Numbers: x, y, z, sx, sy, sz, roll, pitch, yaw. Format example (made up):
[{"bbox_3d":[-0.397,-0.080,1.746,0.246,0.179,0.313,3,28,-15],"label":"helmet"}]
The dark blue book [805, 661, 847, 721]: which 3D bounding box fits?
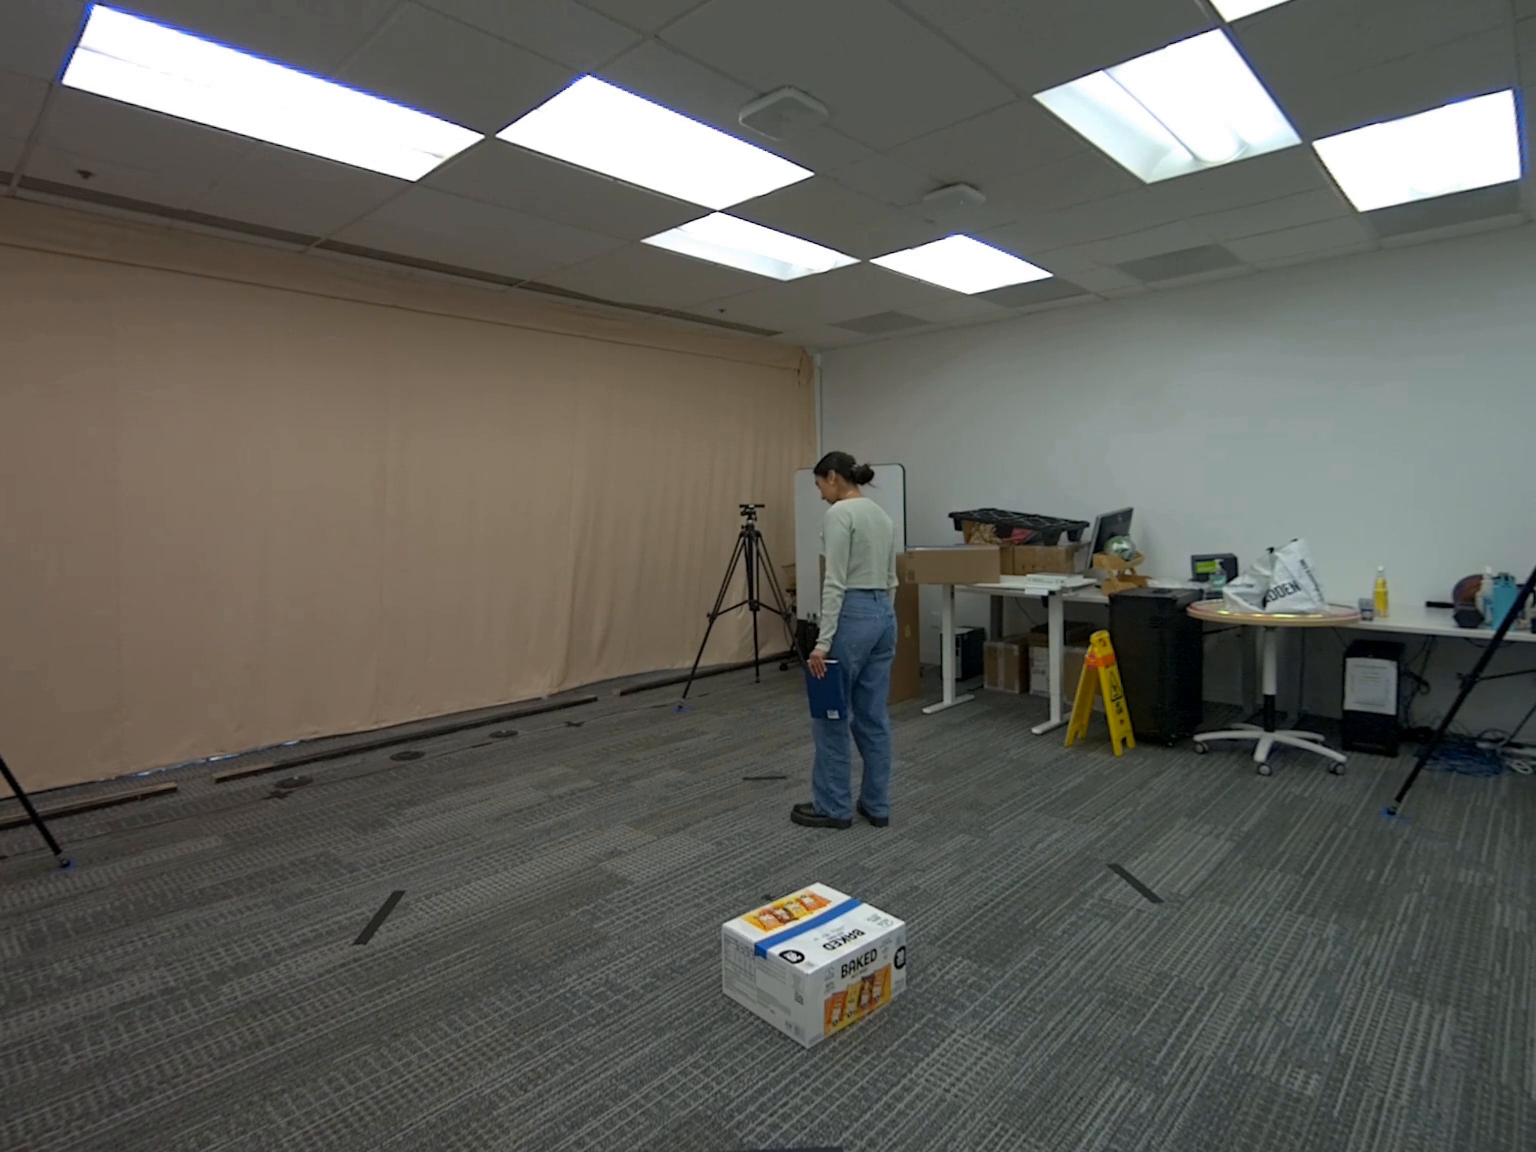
[{"bbox_3d":[0.239,0.474,3.511,0.168,0.244,0.044,-1,7,38],"label":"dark blue book"}]
